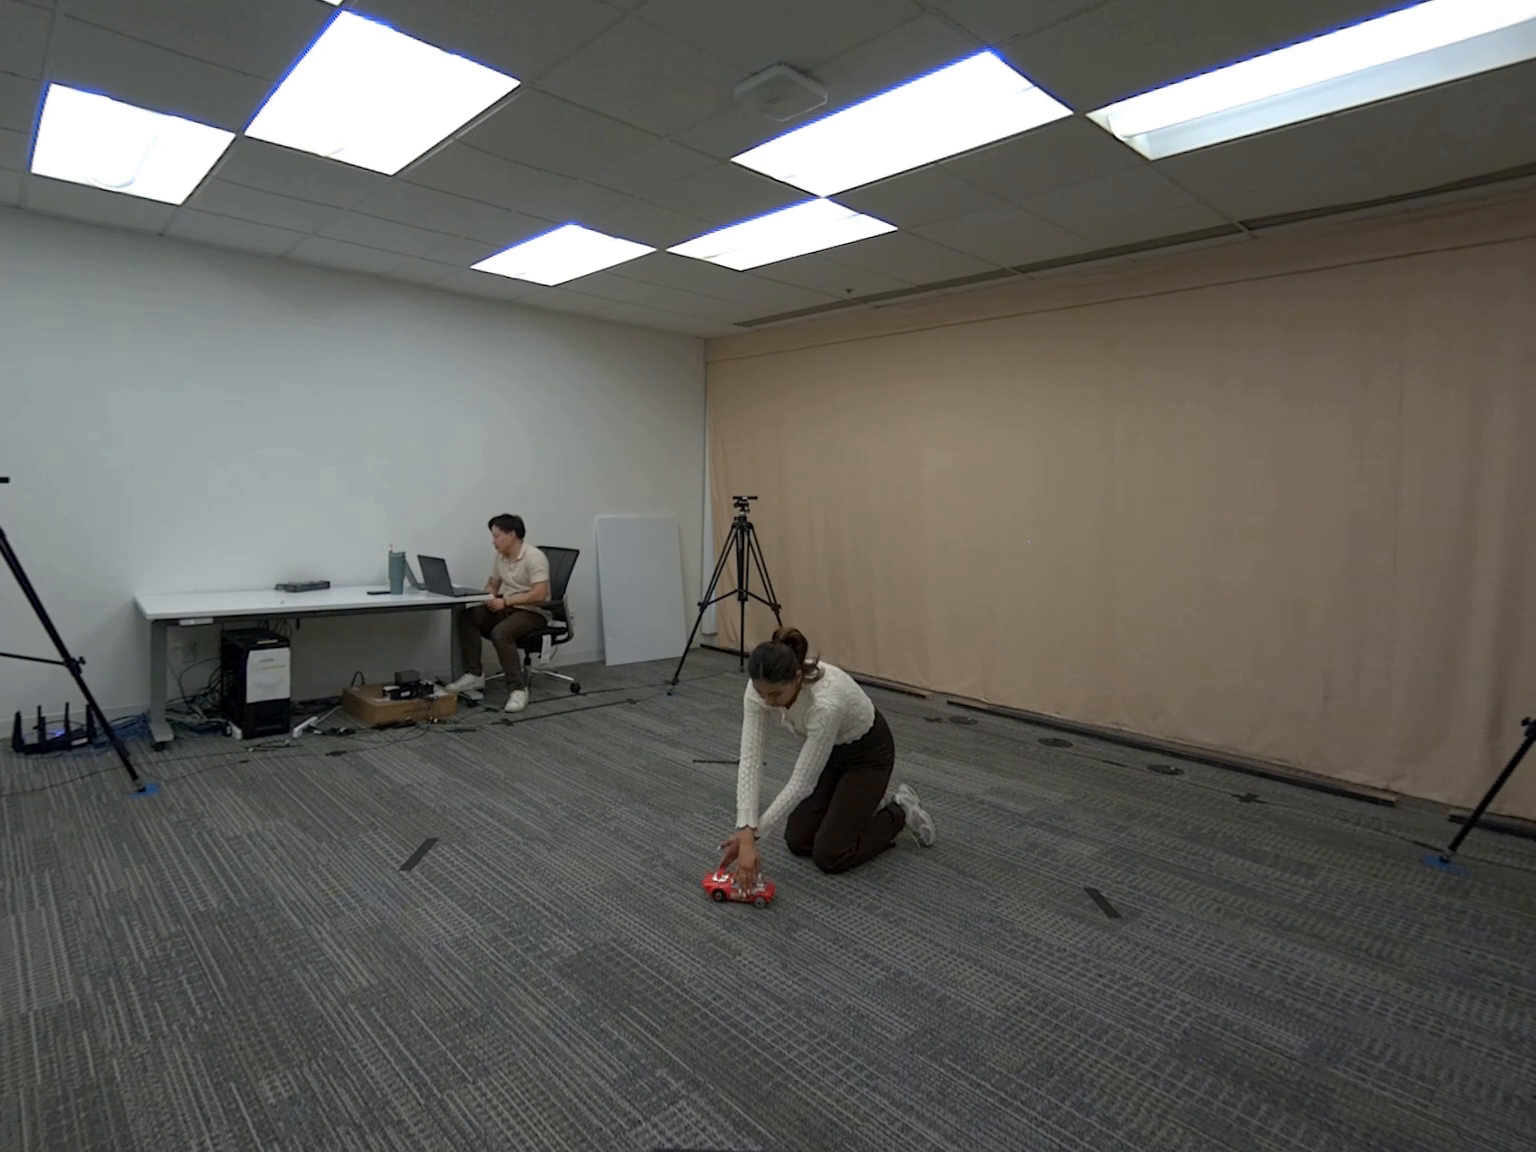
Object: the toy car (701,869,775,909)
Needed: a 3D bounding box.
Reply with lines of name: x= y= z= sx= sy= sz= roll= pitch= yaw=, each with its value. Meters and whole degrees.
toy car: x=-0.117 y=1.089 z=2.932 sx=0.258 sy=0.083 sz=0.129 roll=12 pitch=7 yaw=13
